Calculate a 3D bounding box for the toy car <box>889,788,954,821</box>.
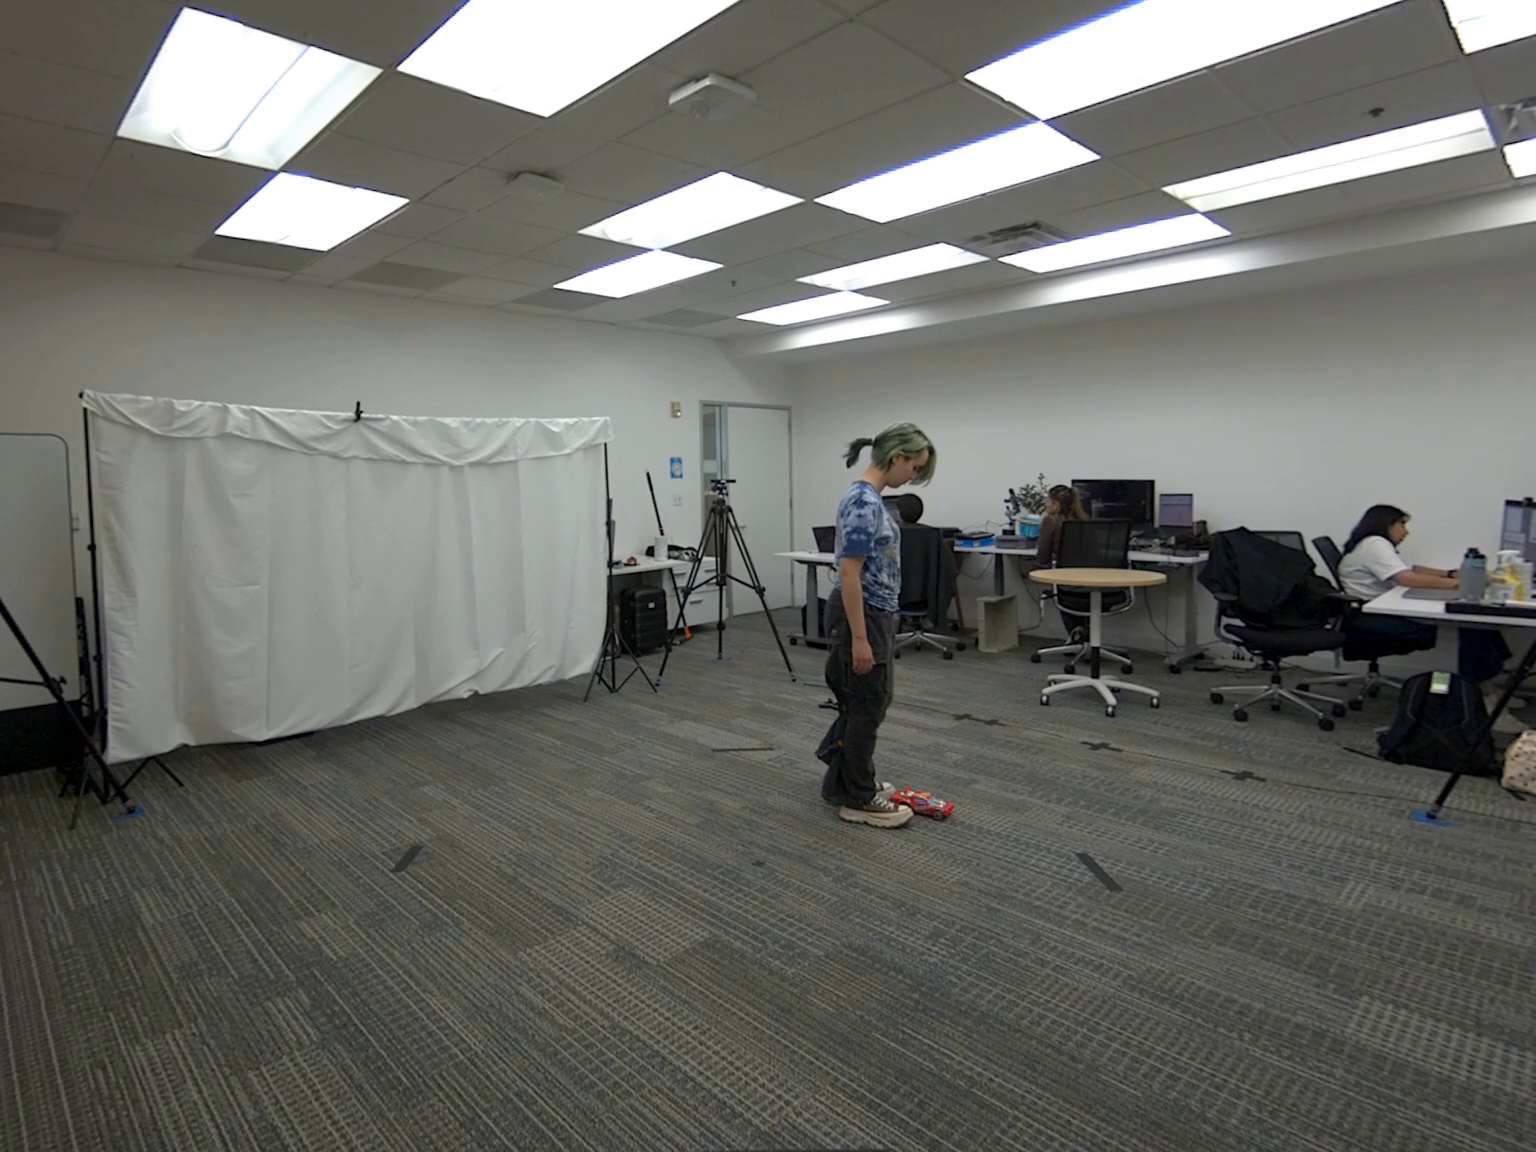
[{"bbox_3d":[0.646,0.949,3.561,0.263,0.082,0.127,16,13,35],"label":"toy car"}]
